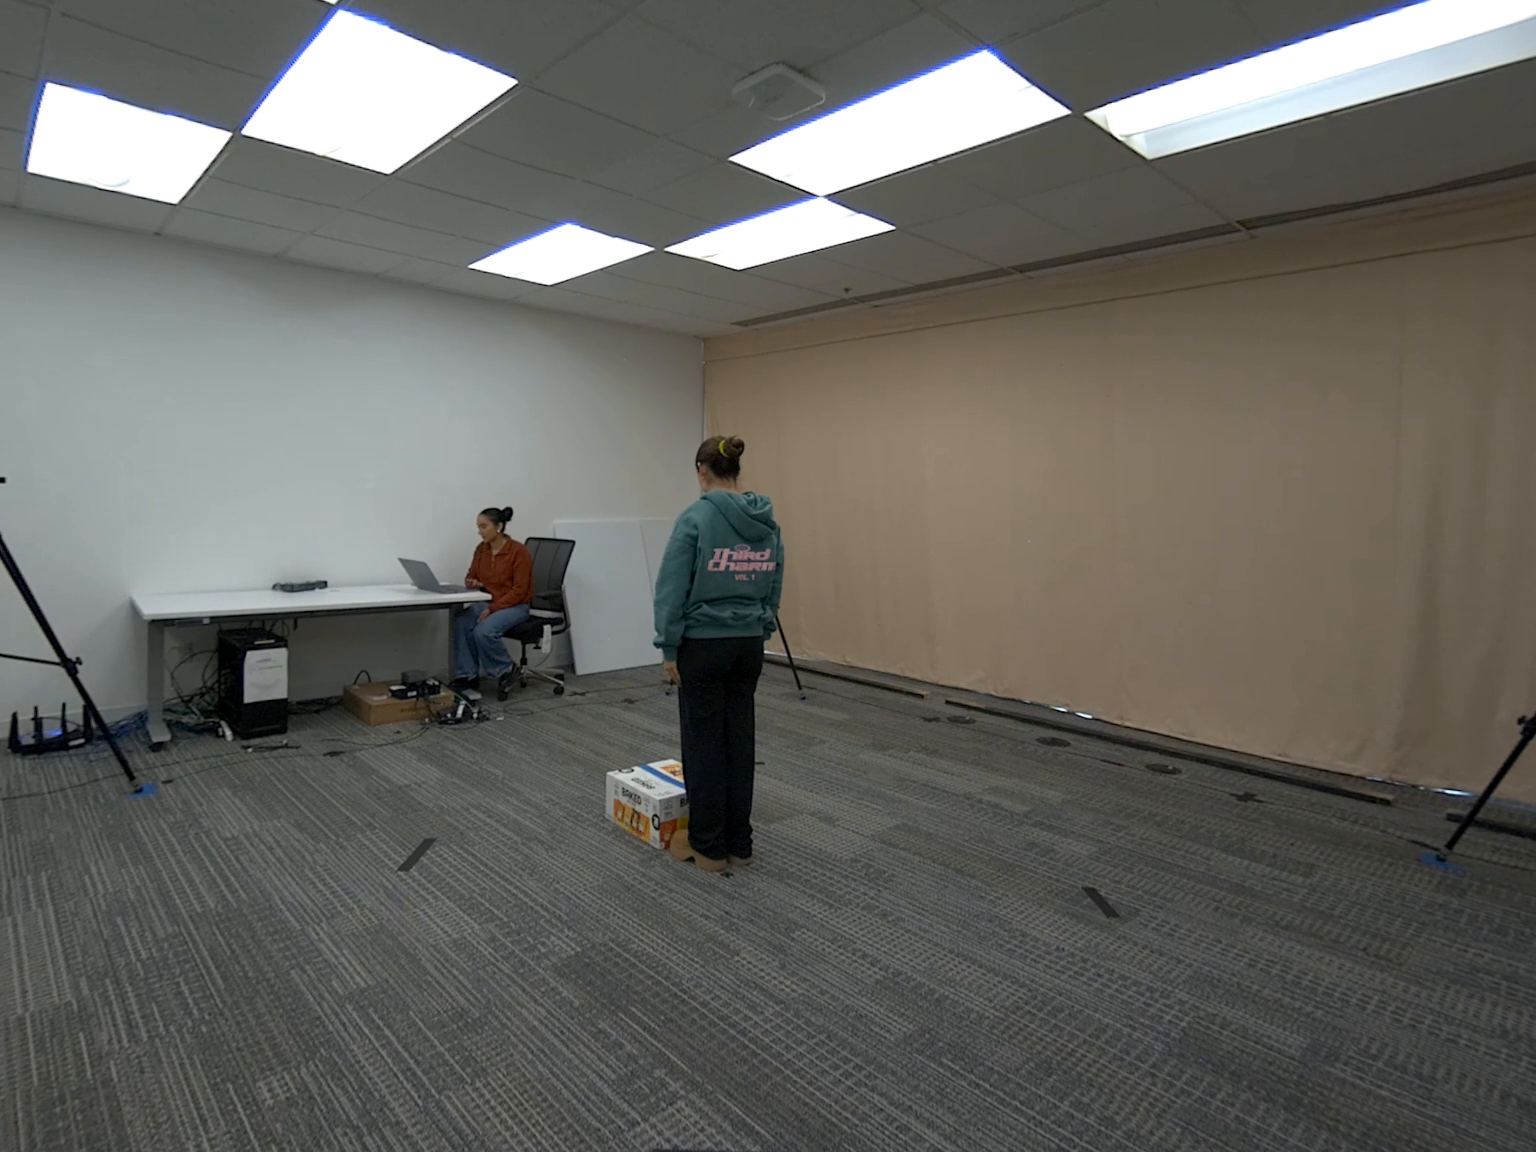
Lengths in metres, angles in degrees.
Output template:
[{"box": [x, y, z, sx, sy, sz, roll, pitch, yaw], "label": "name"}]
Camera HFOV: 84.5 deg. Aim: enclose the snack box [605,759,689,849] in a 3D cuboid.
[{"box": [-0.444, 0.955, 3.560, 0.332, 0.205, 0.415, -2, 6, -40], "label": "snack box"}]
